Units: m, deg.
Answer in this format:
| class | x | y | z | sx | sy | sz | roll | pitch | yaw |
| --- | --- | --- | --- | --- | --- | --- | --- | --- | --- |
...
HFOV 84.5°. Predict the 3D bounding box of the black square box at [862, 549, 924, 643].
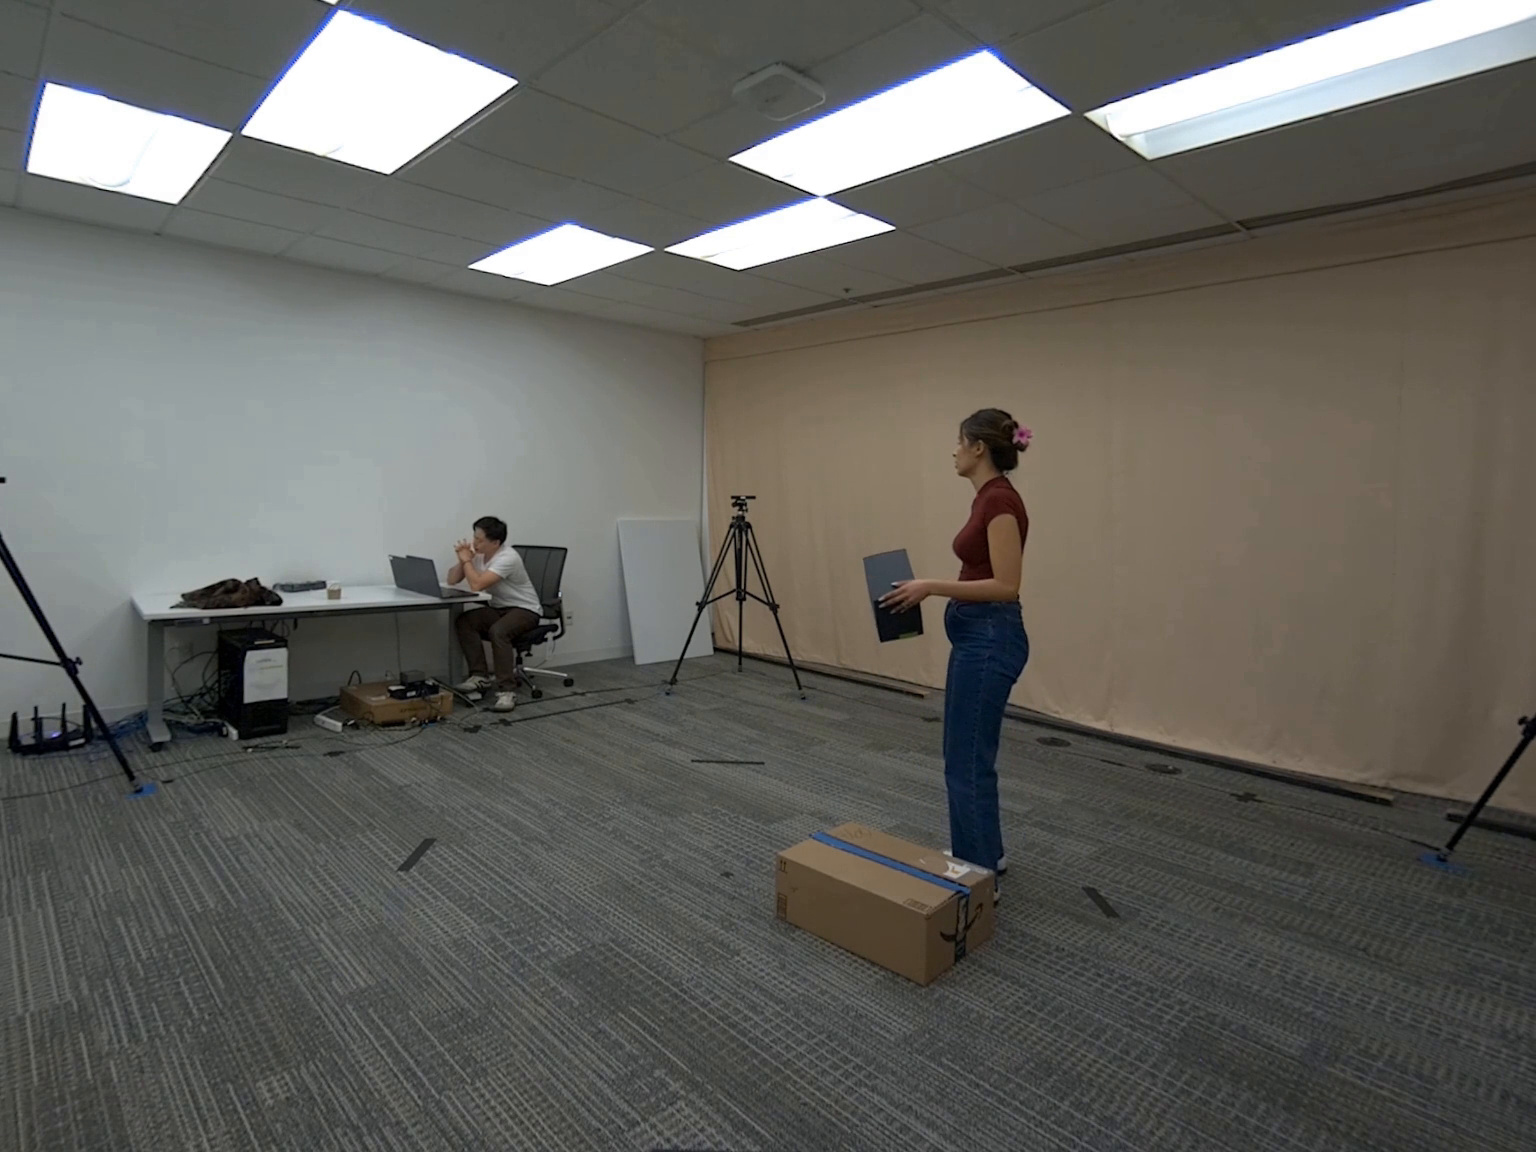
| class | x | y | z | sx | sy | sz | roll | pitch | yaw |
| --- | --- | --- | --- | --- | --- | --- | --- | --- | --- |
| black square box | 0.444 | 0.074 | 2.982 | 0.156 | 0.211 | 0.233 | -10 | 42 | 5 |
